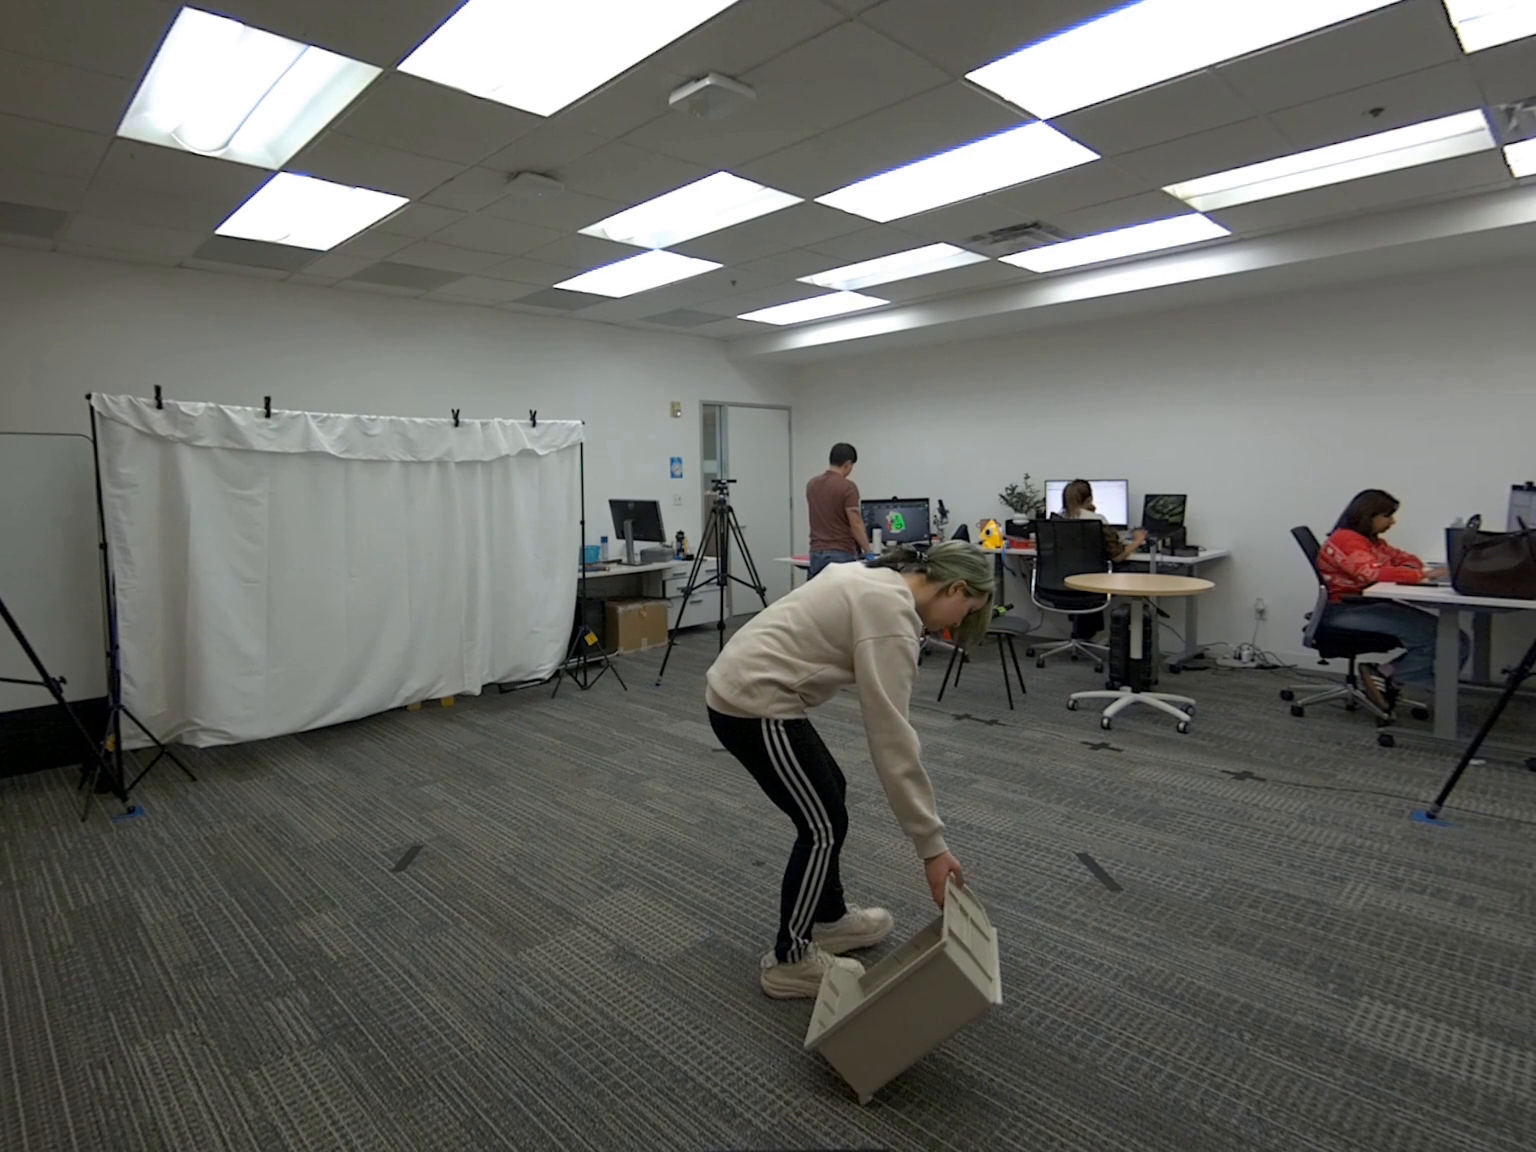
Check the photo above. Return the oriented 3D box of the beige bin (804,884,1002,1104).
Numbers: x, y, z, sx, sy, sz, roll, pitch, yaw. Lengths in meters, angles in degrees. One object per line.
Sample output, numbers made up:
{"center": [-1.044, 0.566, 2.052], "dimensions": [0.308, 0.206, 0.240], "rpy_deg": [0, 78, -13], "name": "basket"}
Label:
{"center": [0.334, 0.960, 2.028], "dimensions": [0.422, 0.190, 0.374], "rpy_deg": [-44, -4, 14], "name": "beige bin"}
